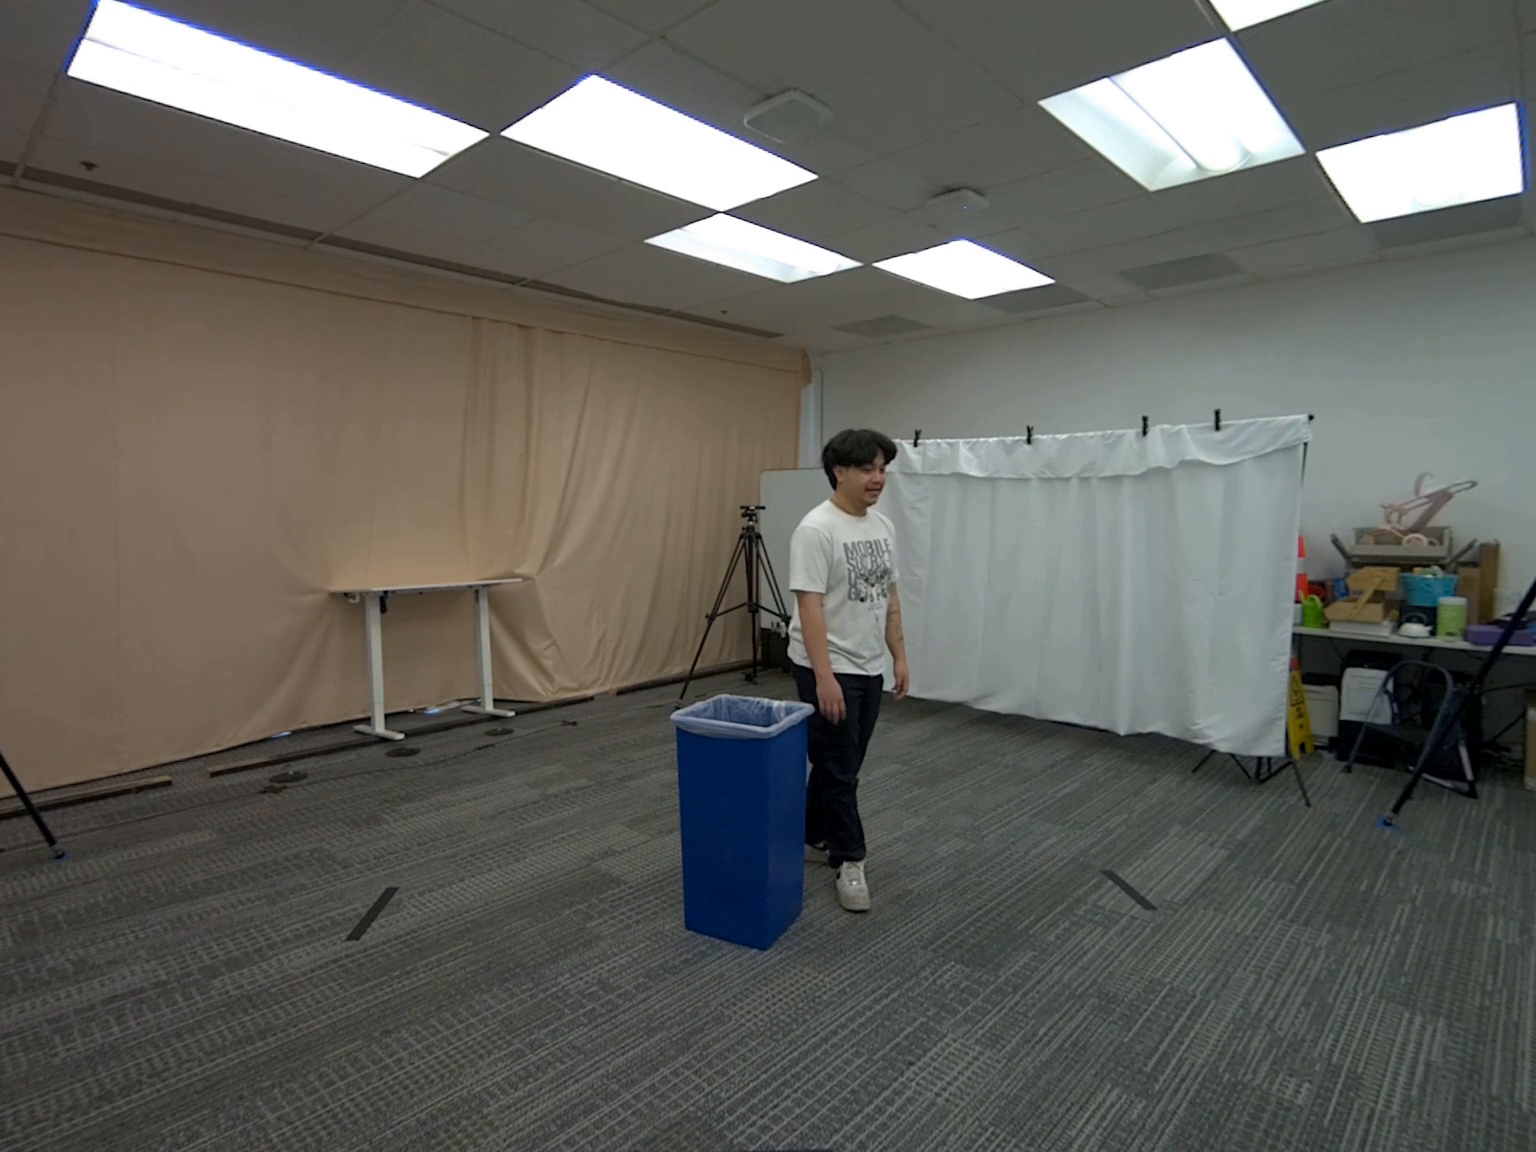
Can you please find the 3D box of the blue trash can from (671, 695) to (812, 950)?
[{"bbox_3d":[-0.077,0.801,2.802,0.388,0.712,0.364,1,3,27],"label":"blue trash can"}]
